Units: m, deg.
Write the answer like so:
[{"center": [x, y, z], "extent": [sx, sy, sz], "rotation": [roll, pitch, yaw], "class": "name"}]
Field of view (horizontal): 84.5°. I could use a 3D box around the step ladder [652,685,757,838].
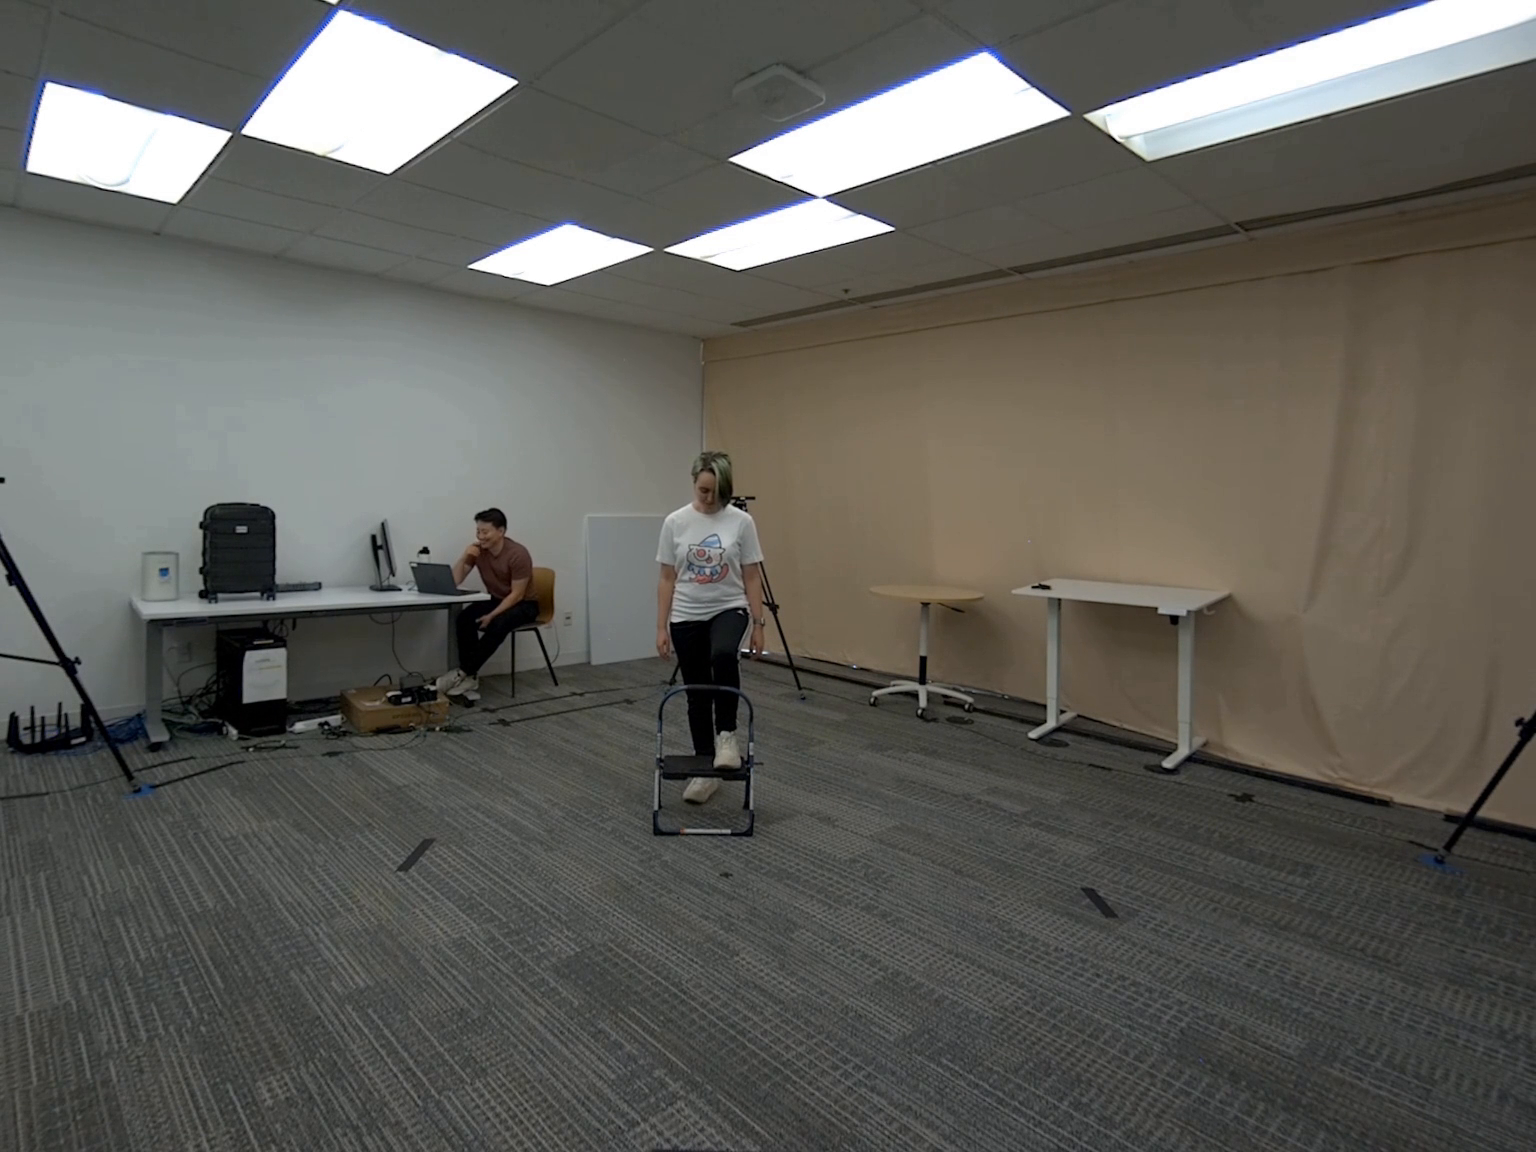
[{"center": [-0.285, 0.762, 3.615], "extent": [0.429, 0.605, 0.351], "rotation": [1, 3, -4], "class": "step ladder"}]
